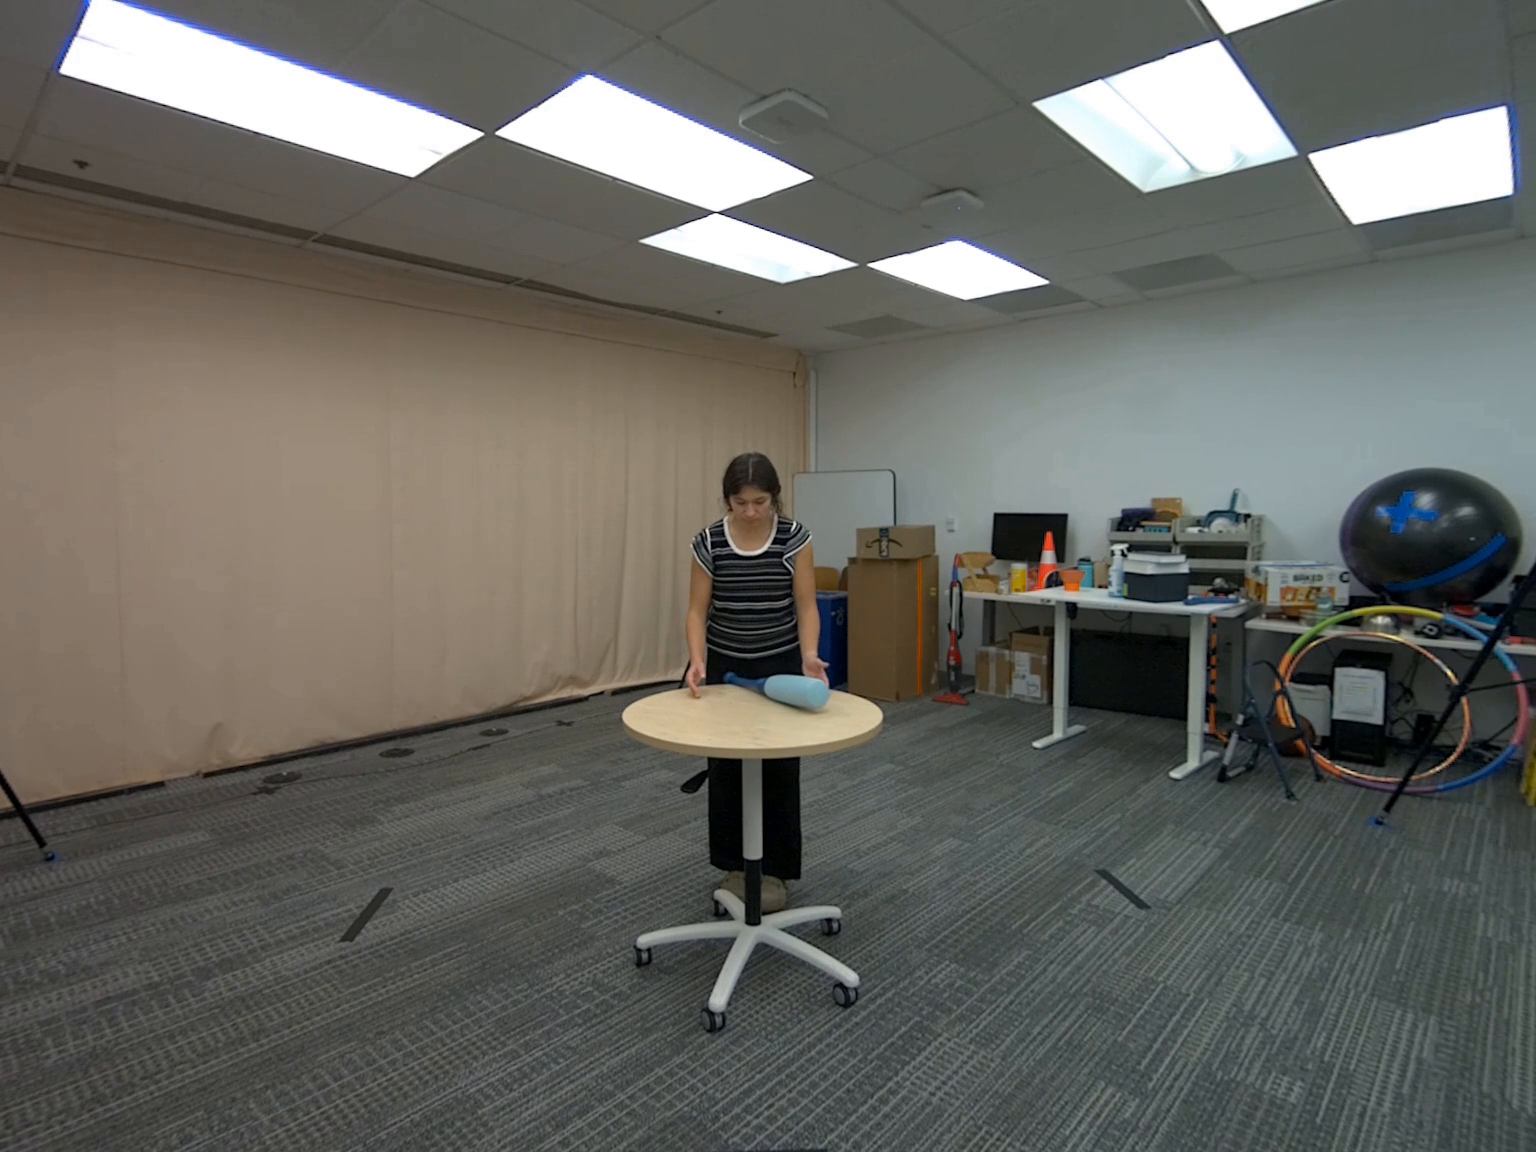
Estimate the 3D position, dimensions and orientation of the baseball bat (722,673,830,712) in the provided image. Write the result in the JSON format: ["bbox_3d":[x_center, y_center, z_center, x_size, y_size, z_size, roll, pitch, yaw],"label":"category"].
[{"bbox_3d":[0.018,0.346,2.683,0.087,0.089,0.555,-2,-1,-27],"label":"baseball bat"}]
